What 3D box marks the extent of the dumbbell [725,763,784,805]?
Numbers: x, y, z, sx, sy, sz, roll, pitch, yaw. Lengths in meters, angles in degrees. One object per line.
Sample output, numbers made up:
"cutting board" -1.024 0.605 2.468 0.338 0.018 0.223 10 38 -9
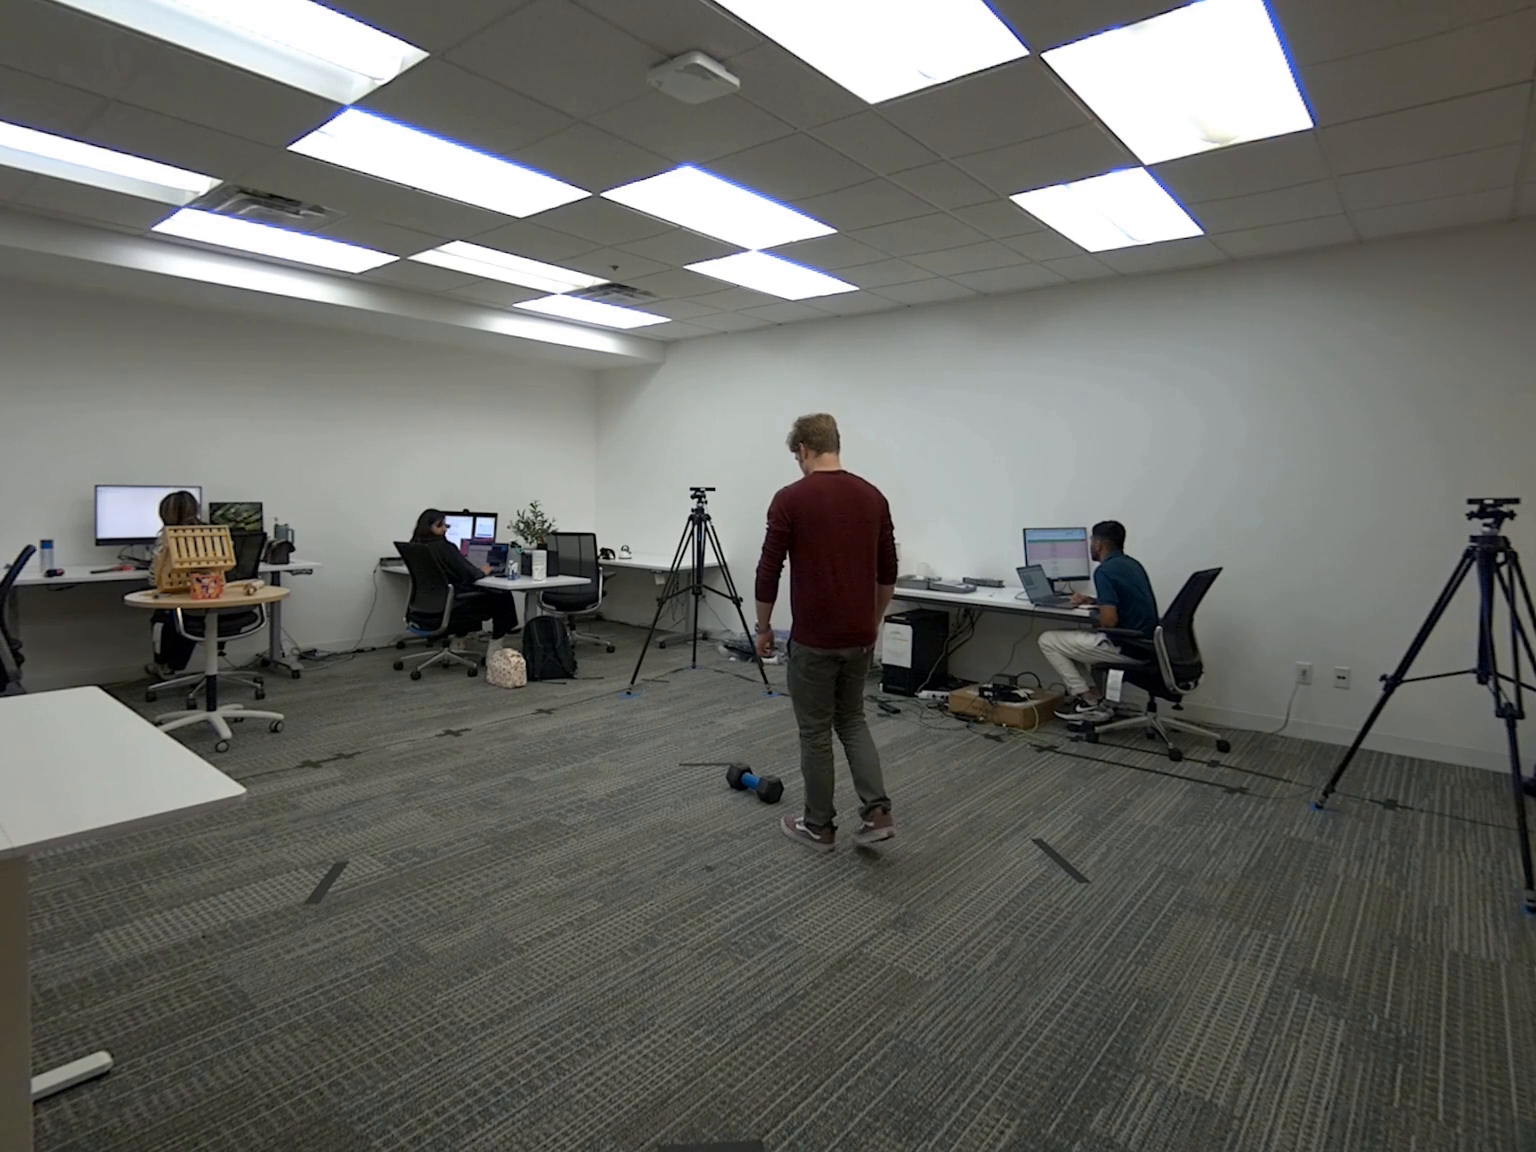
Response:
"dumbbell" -0.068 0.941 3.890 0.303 0.124 0.104 7 -24 50
